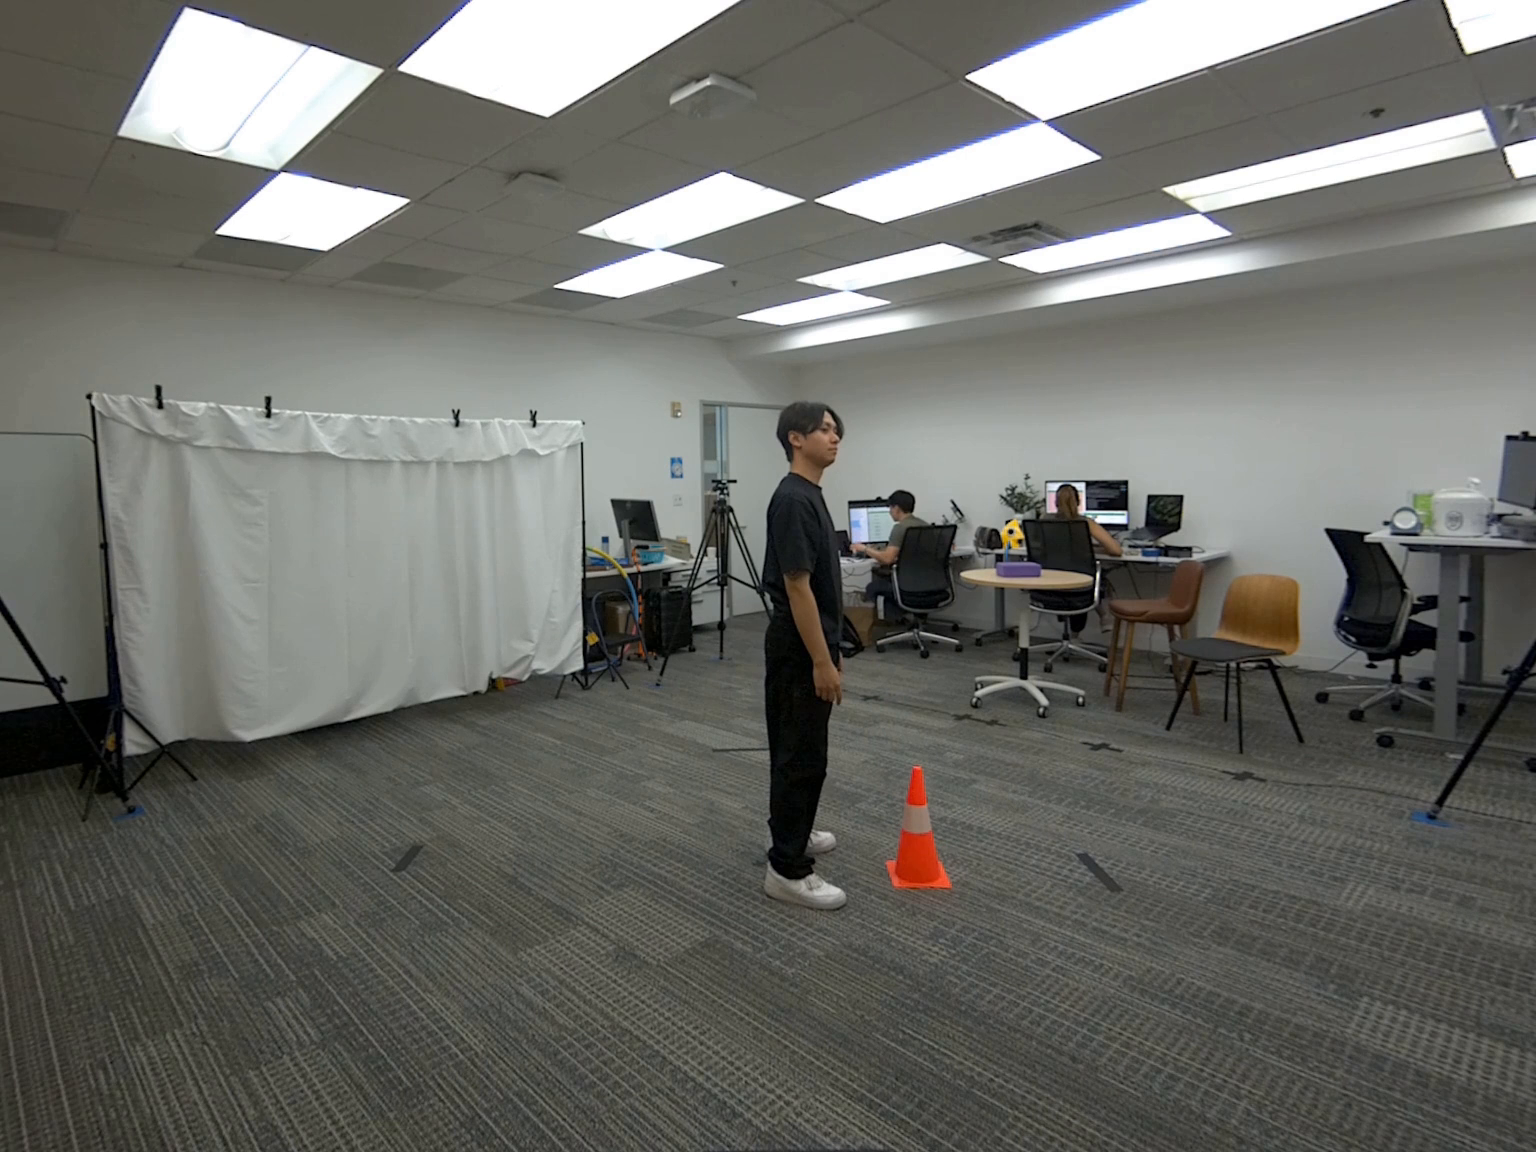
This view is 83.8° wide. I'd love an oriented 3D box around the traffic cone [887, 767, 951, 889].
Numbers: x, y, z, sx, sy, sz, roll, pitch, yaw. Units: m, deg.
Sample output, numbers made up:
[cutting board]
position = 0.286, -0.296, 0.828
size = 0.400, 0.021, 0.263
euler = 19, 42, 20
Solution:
[traffic cone]
position = 0.526, 0.864, 2.987
size = 0.203, 0.382, 0.206
euler = -2, 5, -1
